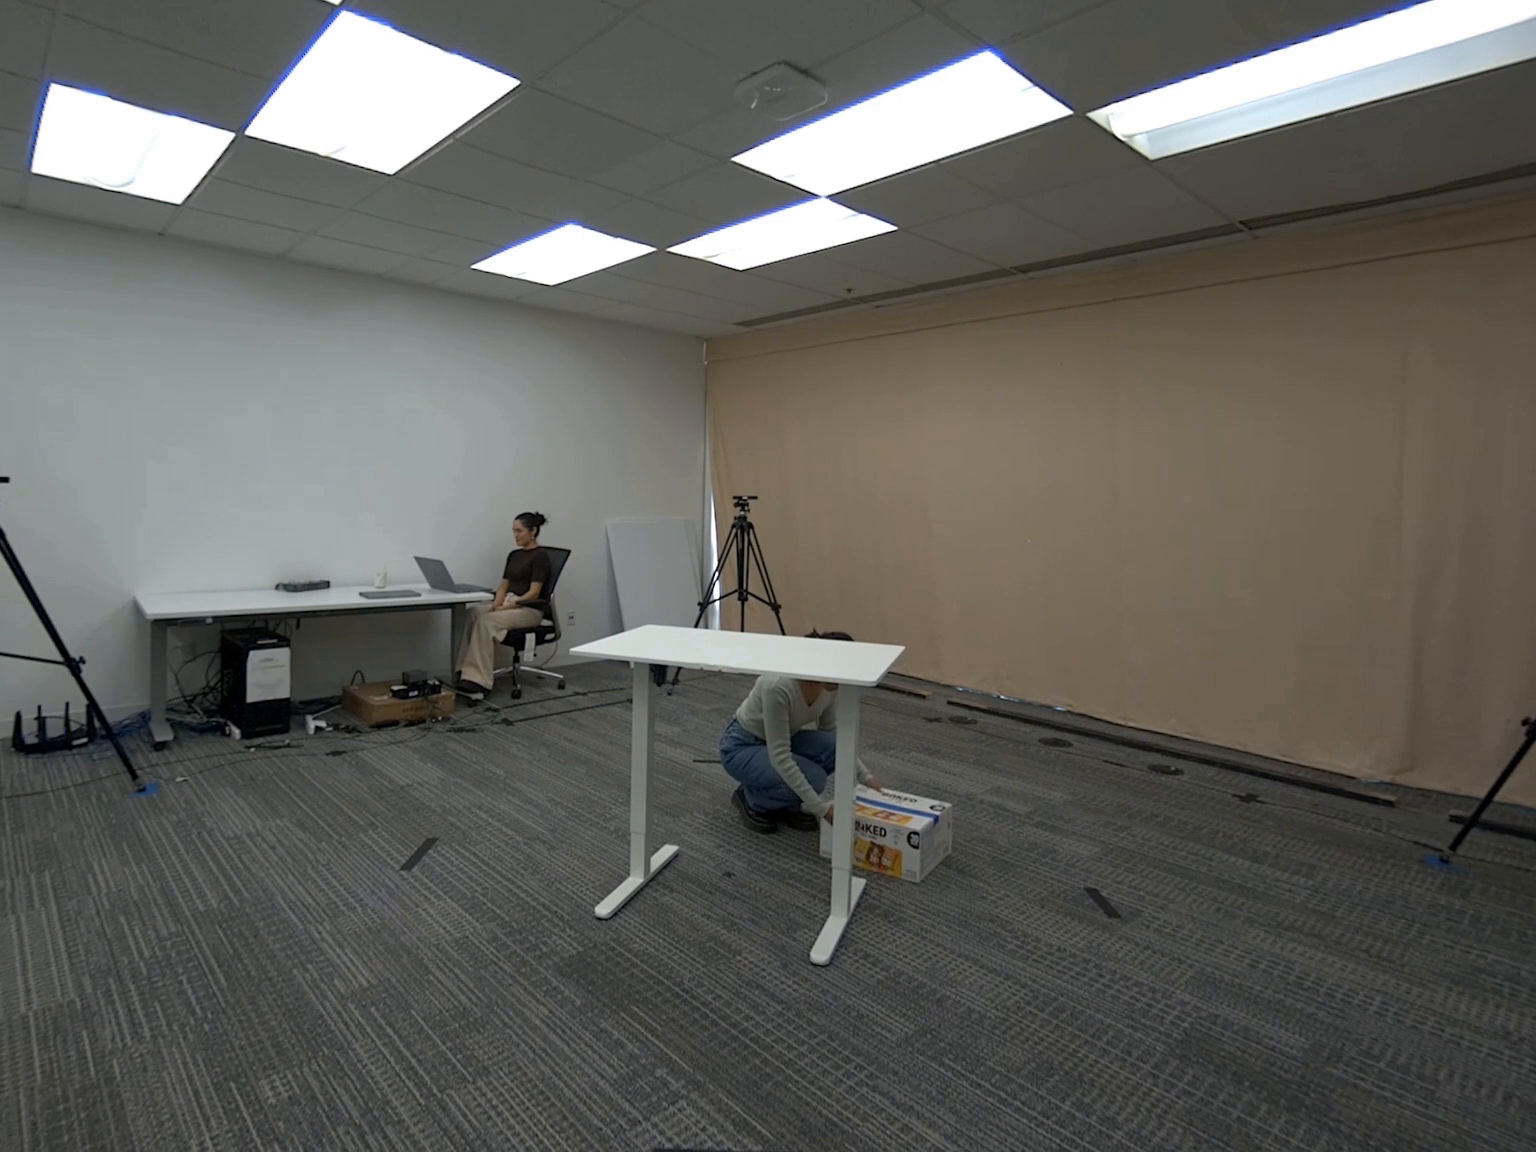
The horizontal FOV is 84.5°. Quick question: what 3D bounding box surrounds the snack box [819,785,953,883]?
[{"bbox_3d":[0.468,1.000,3.300,0.414,0.205,0.333,4,5,33],"label":"snack box"}]
